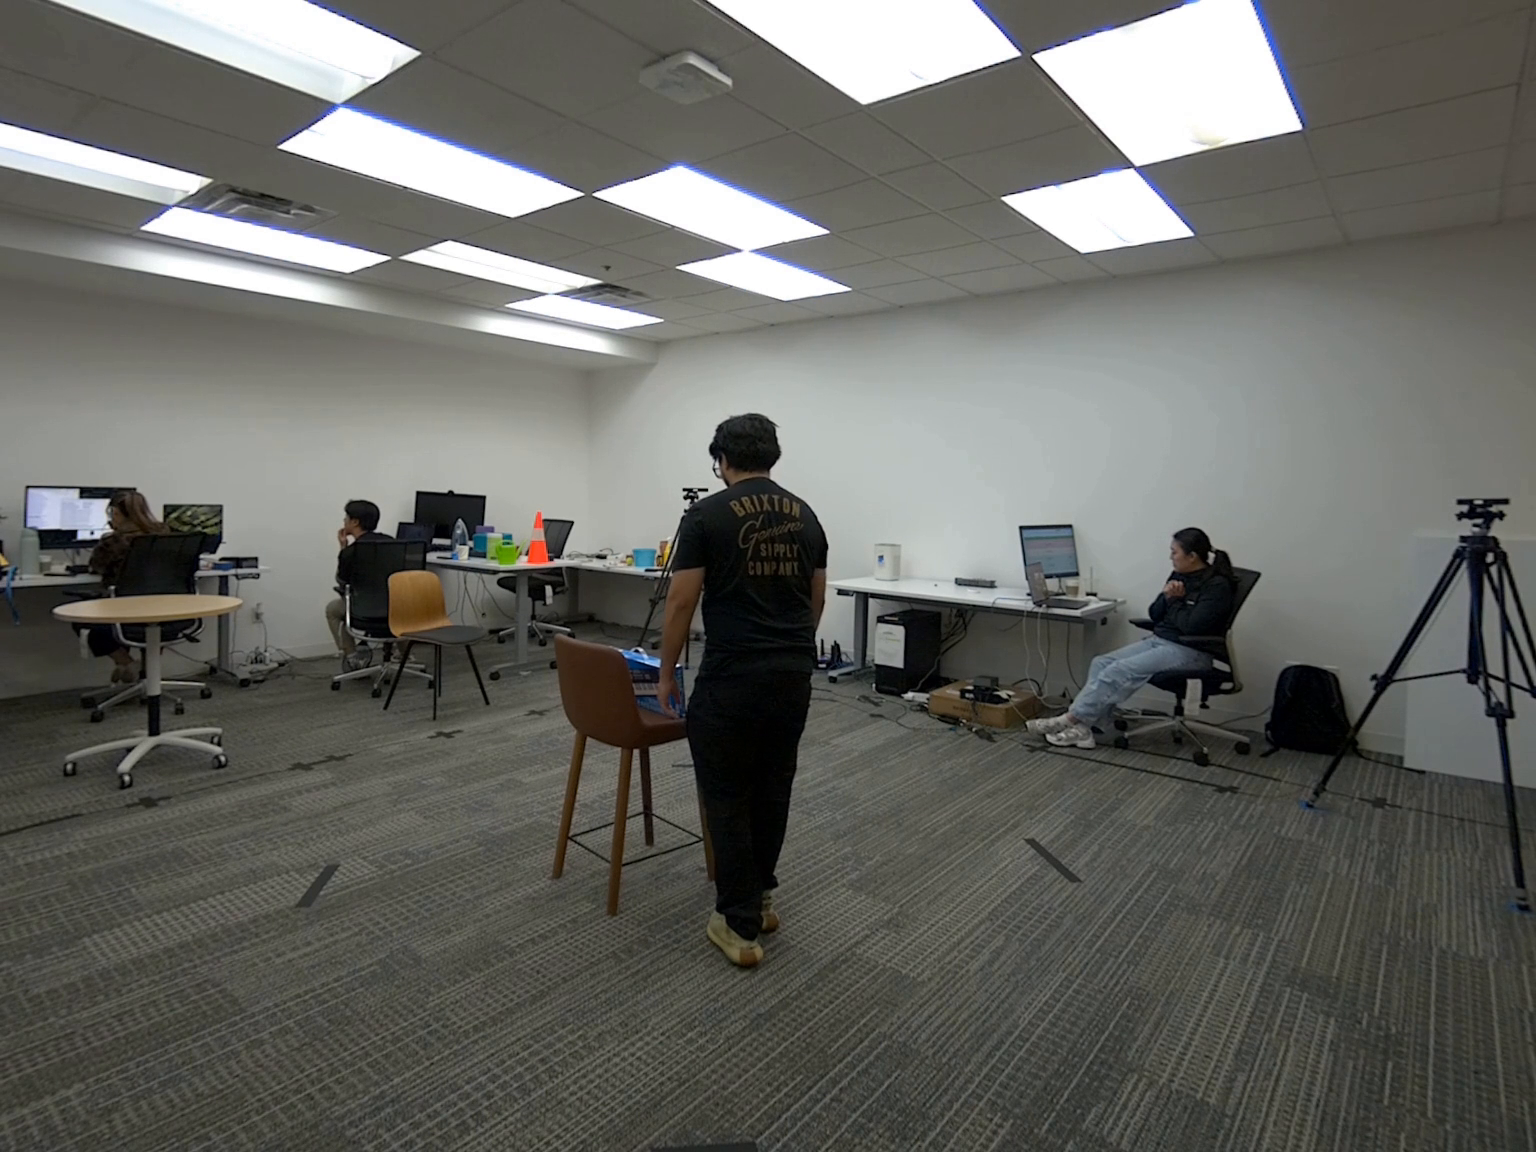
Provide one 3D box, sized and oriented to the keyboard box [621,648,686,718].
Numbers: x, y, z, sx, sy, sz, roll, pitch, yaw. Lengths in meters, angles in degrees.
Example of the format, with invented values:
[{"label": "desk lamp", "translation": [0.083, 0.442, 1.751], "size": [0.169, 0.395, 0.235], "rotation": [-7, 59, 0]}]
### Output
[{"label": "keyboard box", "translation": [-0.466, 0.371, 3.034], "size": [0.057, 0.174, 0.452], "rotation": [-11, 12, -42]}]
